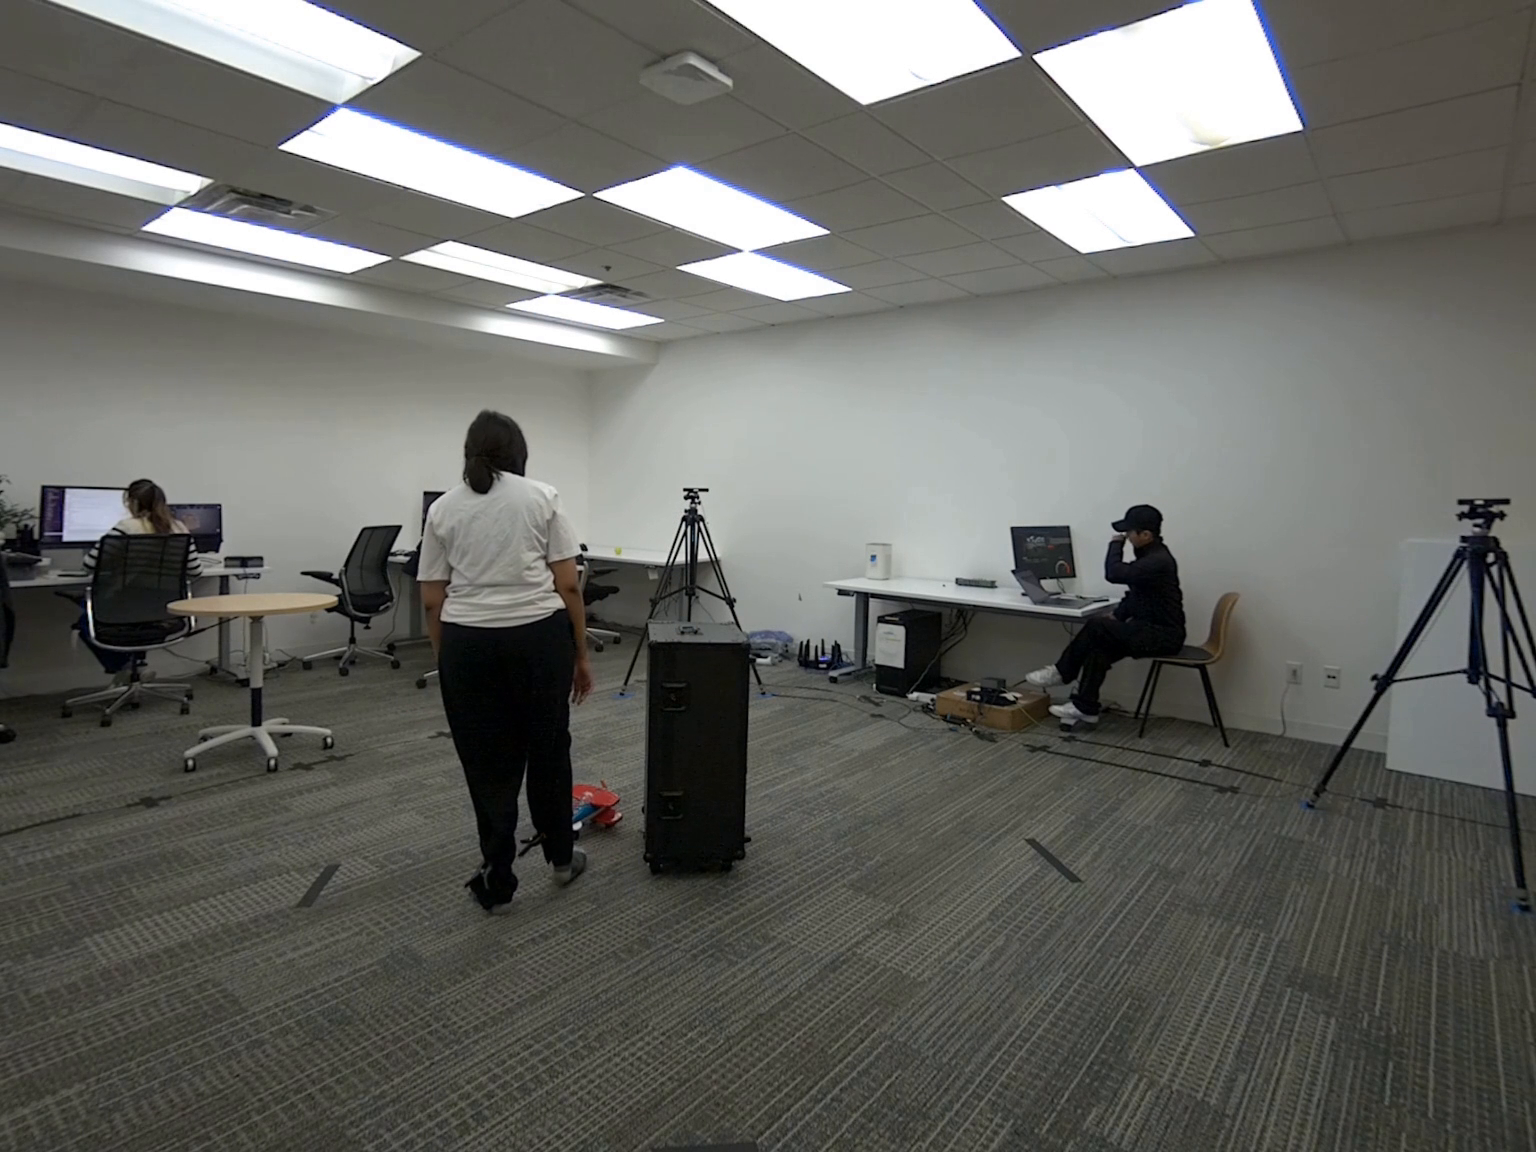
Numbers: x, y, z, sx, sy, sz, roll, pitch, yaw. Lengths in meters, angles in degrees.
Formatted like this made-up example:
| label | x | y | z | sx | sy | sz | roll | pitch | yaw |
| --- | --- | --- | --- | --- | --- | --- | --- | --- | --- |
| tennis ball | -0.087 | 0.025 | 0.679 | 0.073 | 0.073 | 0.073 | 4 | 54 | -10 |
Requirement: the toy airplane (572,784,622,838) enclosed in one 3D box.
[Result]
| label | x | y | z | sx | sy | sz | roll | pitch | yaw |
| --- | --- | --- | --- | --- | --- | --- | --- | --- | --- |
| toy airplane | -0.724 | 0.961 | 3.448 | 0.253 | 0.156 | 0.258 | 1 | 3 | 6 |
